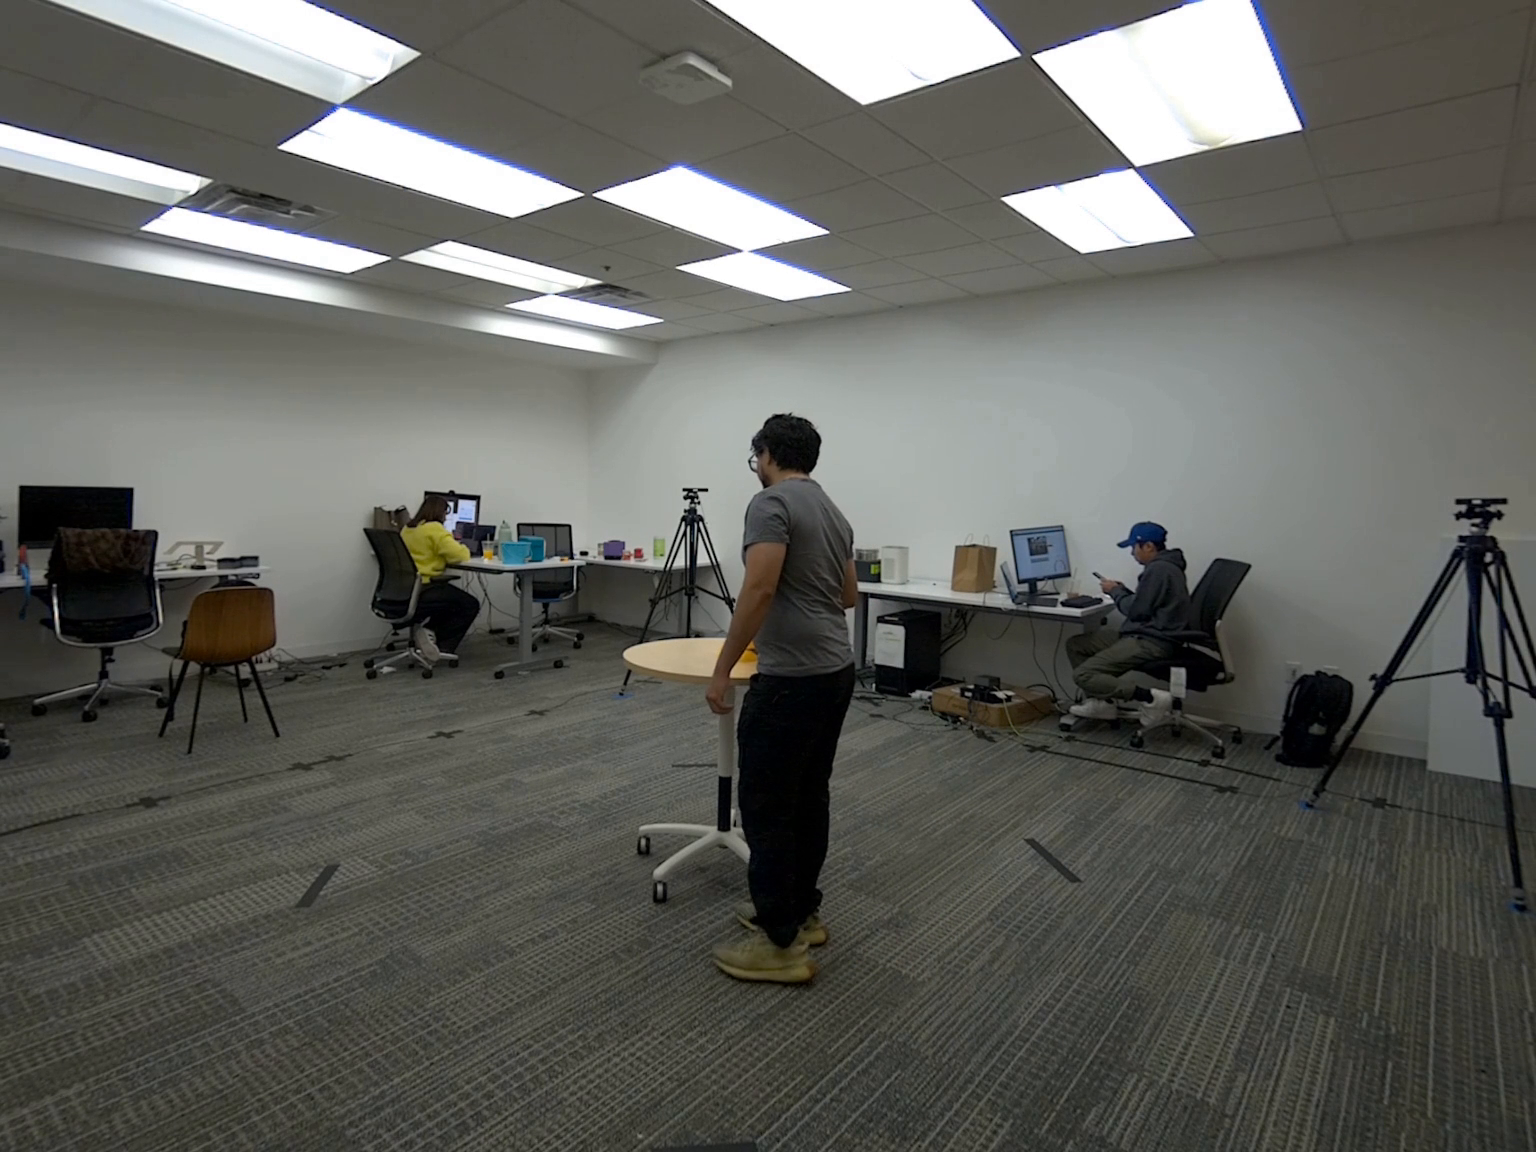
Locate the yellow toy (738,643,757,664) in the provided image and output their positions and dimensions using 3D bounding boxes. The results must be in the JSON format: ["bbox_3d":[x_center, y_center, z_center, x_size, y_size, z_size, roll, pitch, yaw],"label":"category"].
[{"bbox_3d":[-0.083,0.174,3.090,0.199,0.230,0.198,4,4,40],"label":"yellow toy"}]
